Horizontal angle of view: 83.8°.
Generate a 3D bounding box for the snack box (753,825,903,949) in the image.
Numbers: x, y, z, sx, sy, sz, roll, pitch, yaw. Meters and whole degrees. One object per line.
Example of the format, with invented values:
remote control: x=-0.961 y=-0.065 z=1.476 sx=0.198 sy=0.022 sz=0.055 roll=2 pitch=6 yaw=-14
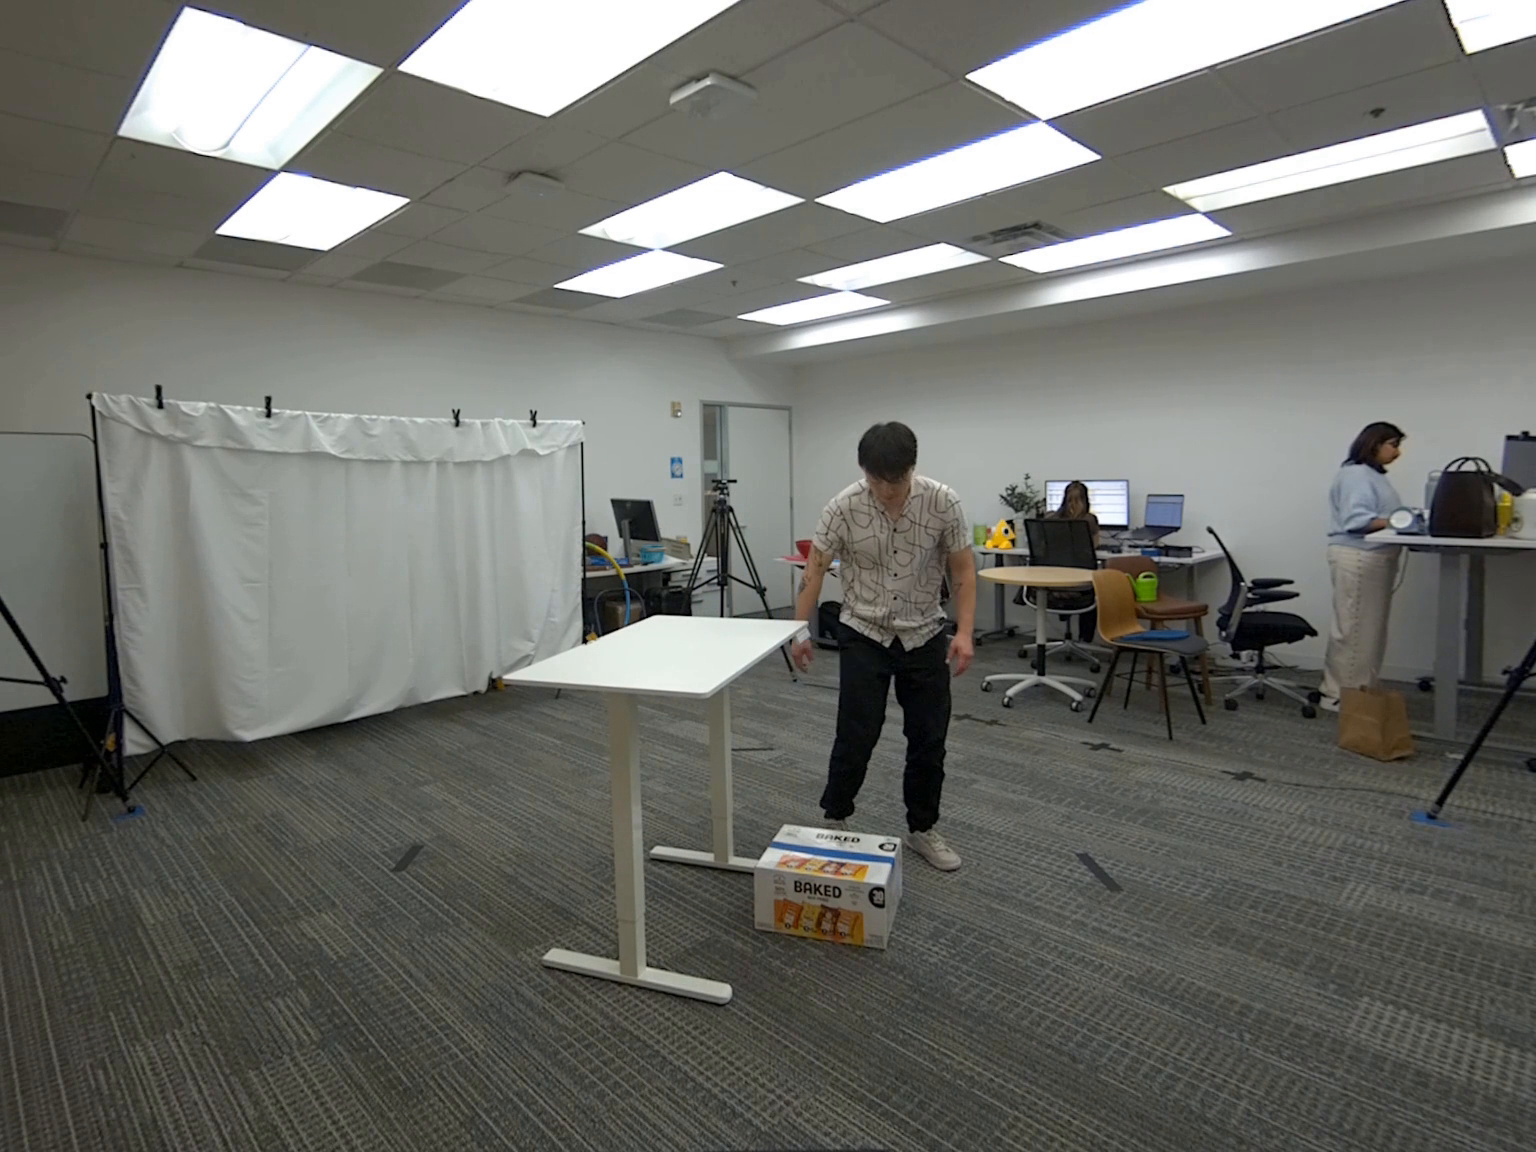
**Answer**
snack box: x=0.205 y=0.985 z=2.734 sx=0.412 sy=0.205 sz=0.336 roll=1 pitch=6 yaw=18
